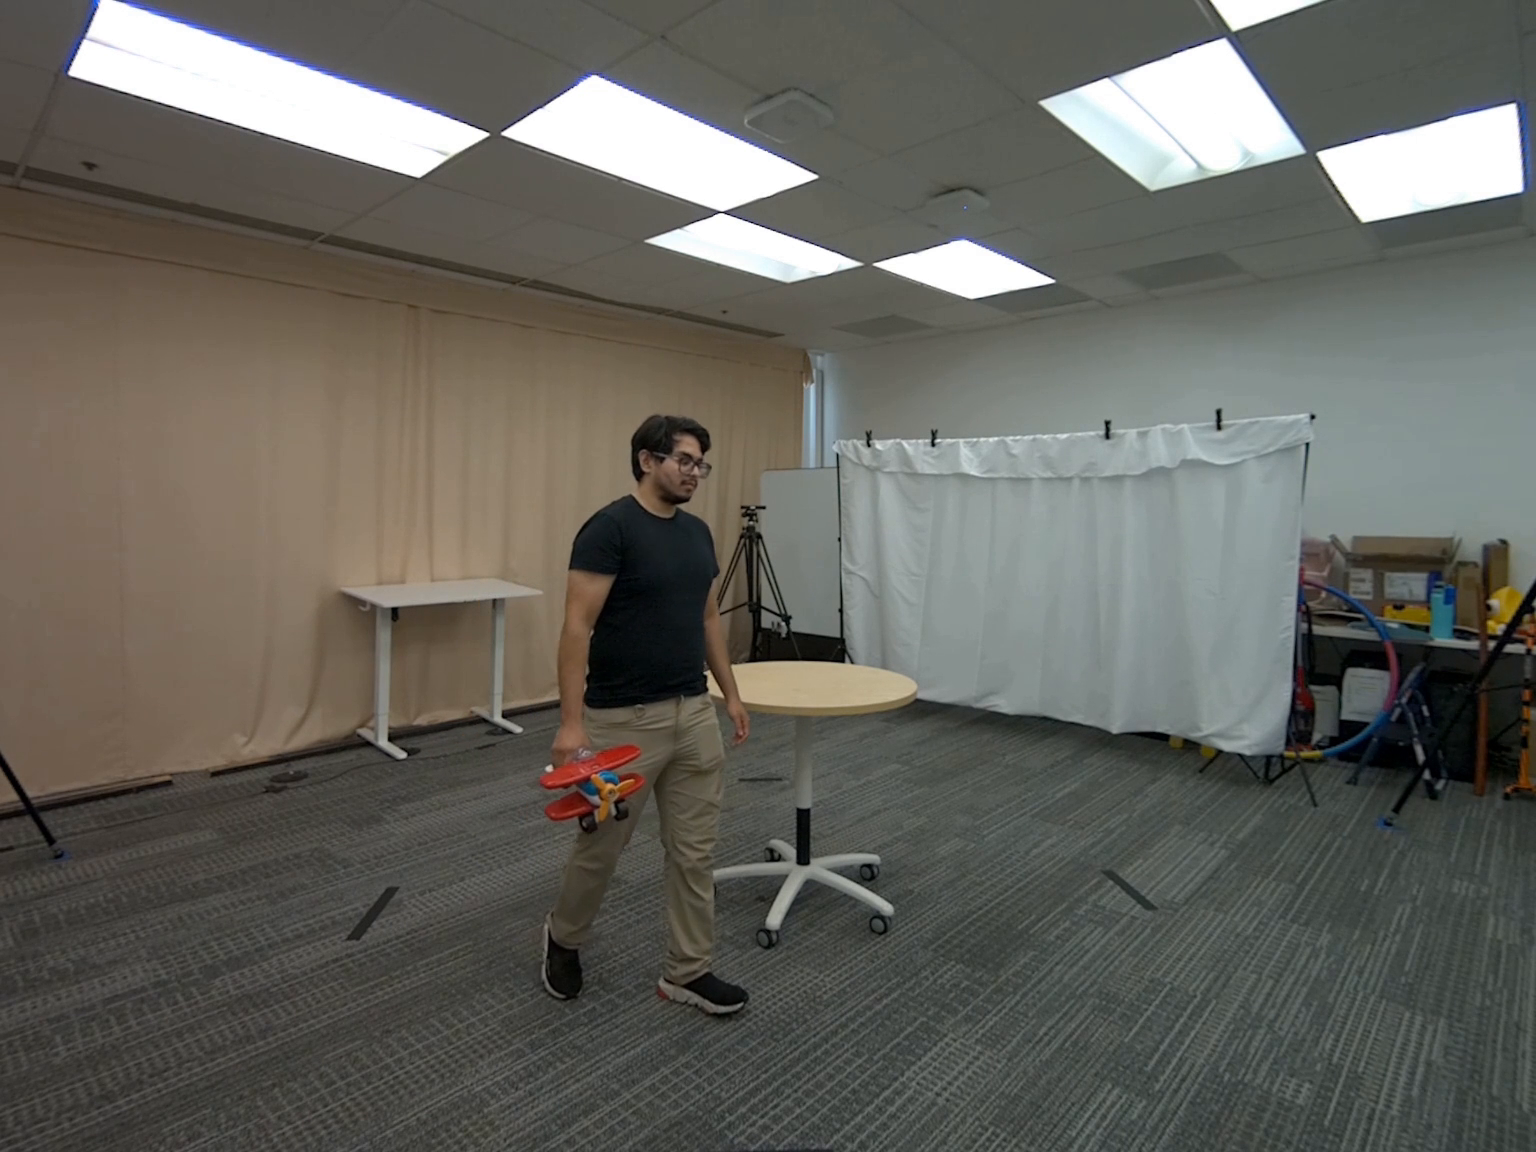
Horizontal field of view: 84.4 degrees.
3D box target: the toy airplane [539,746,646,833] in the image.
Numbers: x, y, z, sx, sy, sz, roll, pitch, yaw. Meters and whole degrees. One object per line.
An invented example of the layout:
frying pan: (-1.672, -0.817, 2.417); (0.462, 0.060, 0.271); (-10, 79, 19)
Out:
toy airplane: (-0.451, 0.503, 2.049); (0.266, 0.154, 0.247); (13, 26, 25)
